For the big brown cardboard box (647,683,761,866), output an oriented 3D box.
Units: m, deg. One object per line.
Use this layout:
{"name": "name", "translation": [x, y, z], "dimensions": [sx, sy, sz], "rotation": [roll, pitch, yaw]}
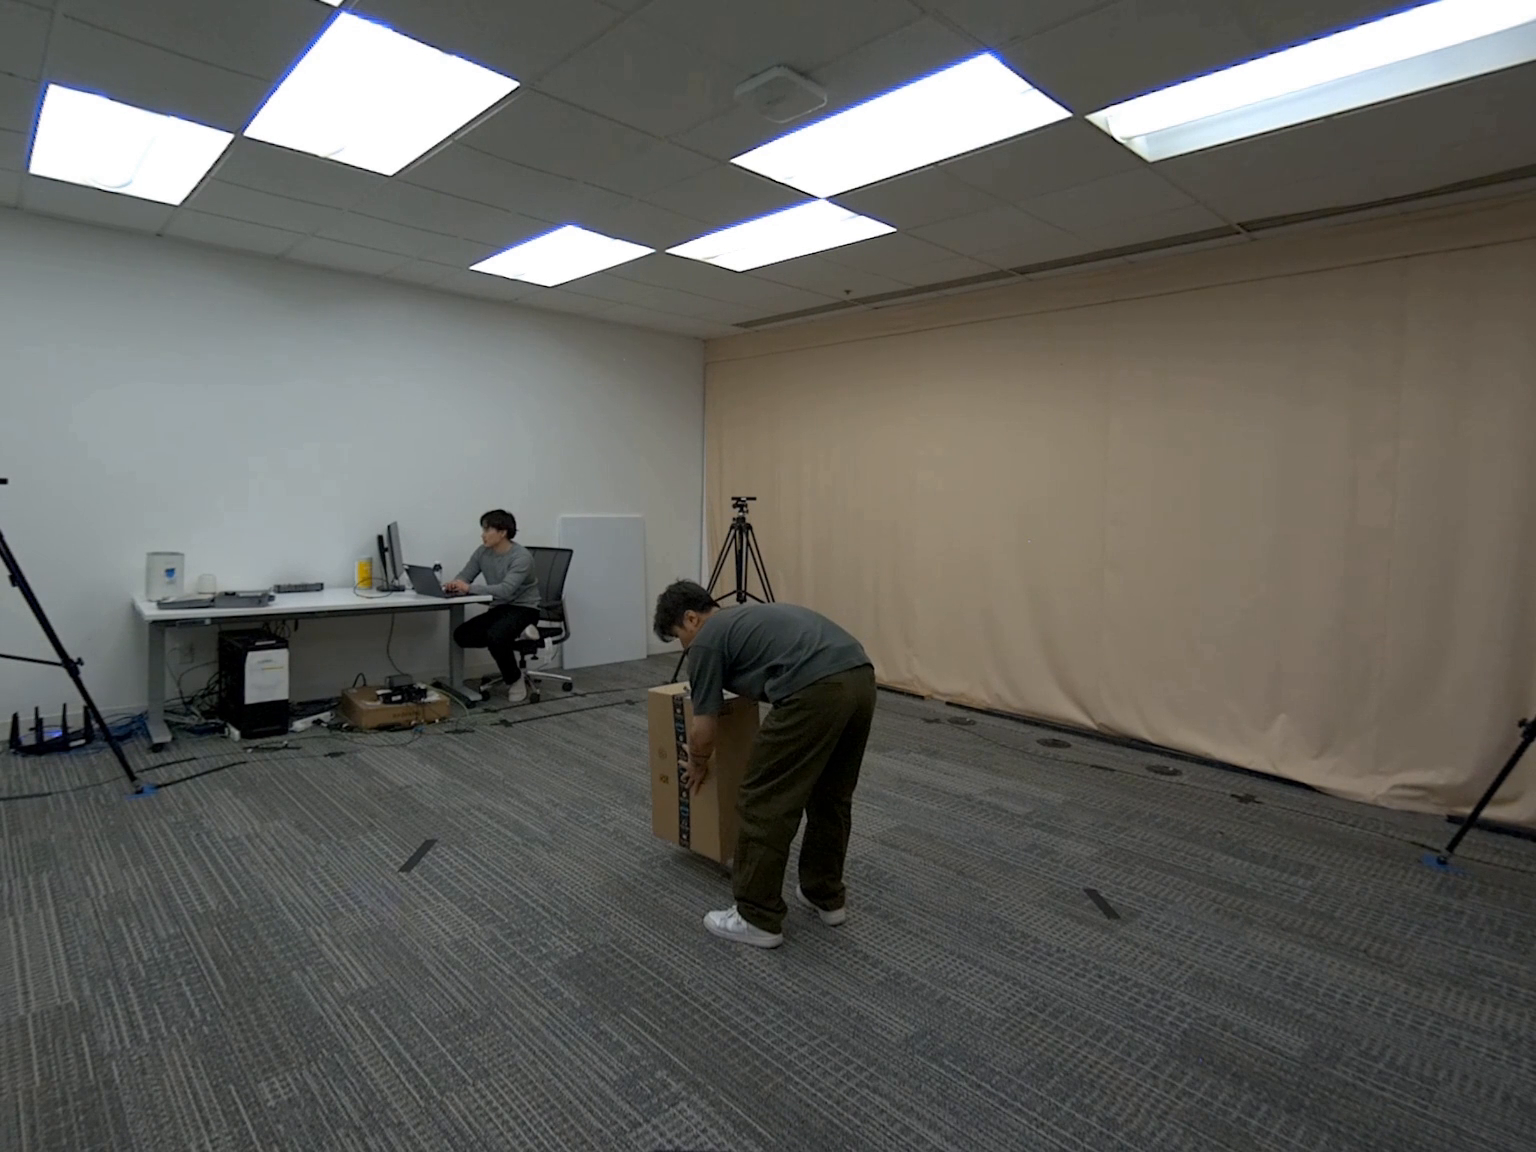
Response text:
{"name": "big brown cardboard box", "translation": [-0.245, 0.711, 3.156], "dimensions": [0.228, 0.588, 0.427], "rotation": [-2, 2, -41]}
